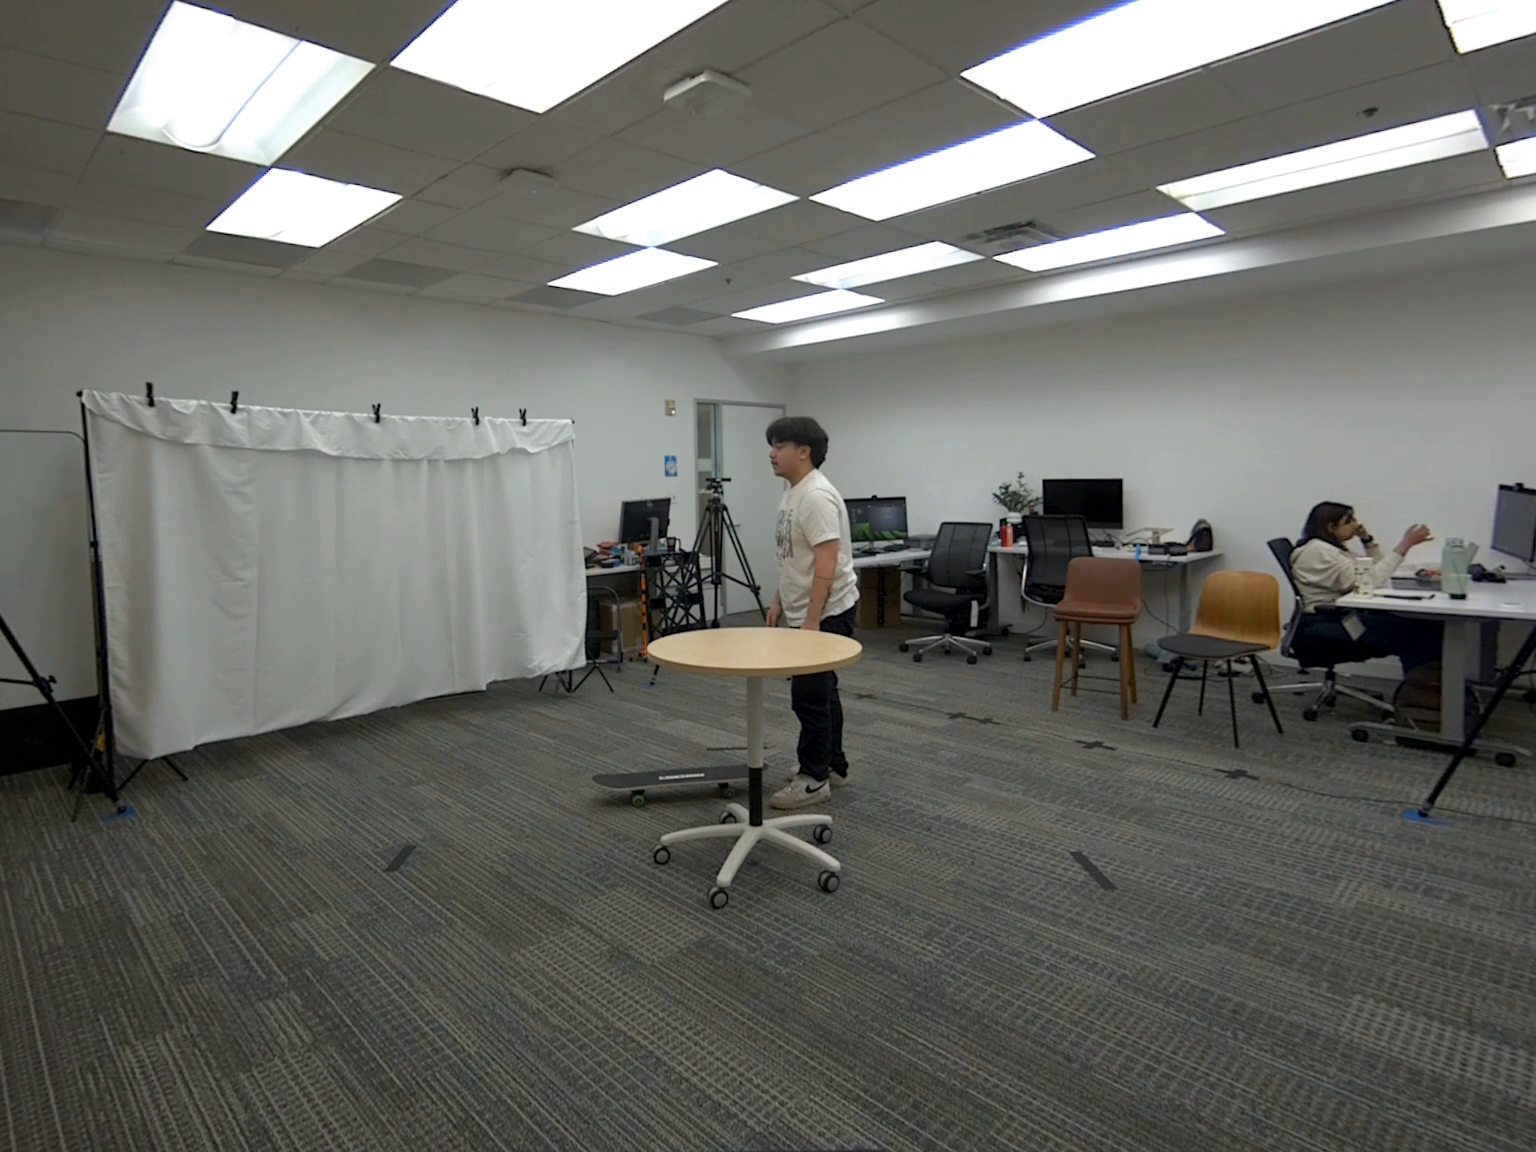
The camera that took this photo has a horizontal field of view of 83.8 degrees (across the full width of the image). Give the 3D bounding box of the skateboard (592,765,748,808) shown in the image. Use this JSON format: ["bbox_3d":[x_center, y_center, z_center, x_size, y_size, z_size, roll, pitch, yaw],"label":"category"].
[{"bbox_3d":[-0.383,0.917,3.775,0.778,0.110,0.196,-2,6,-10],"label":"skateboard"}]
